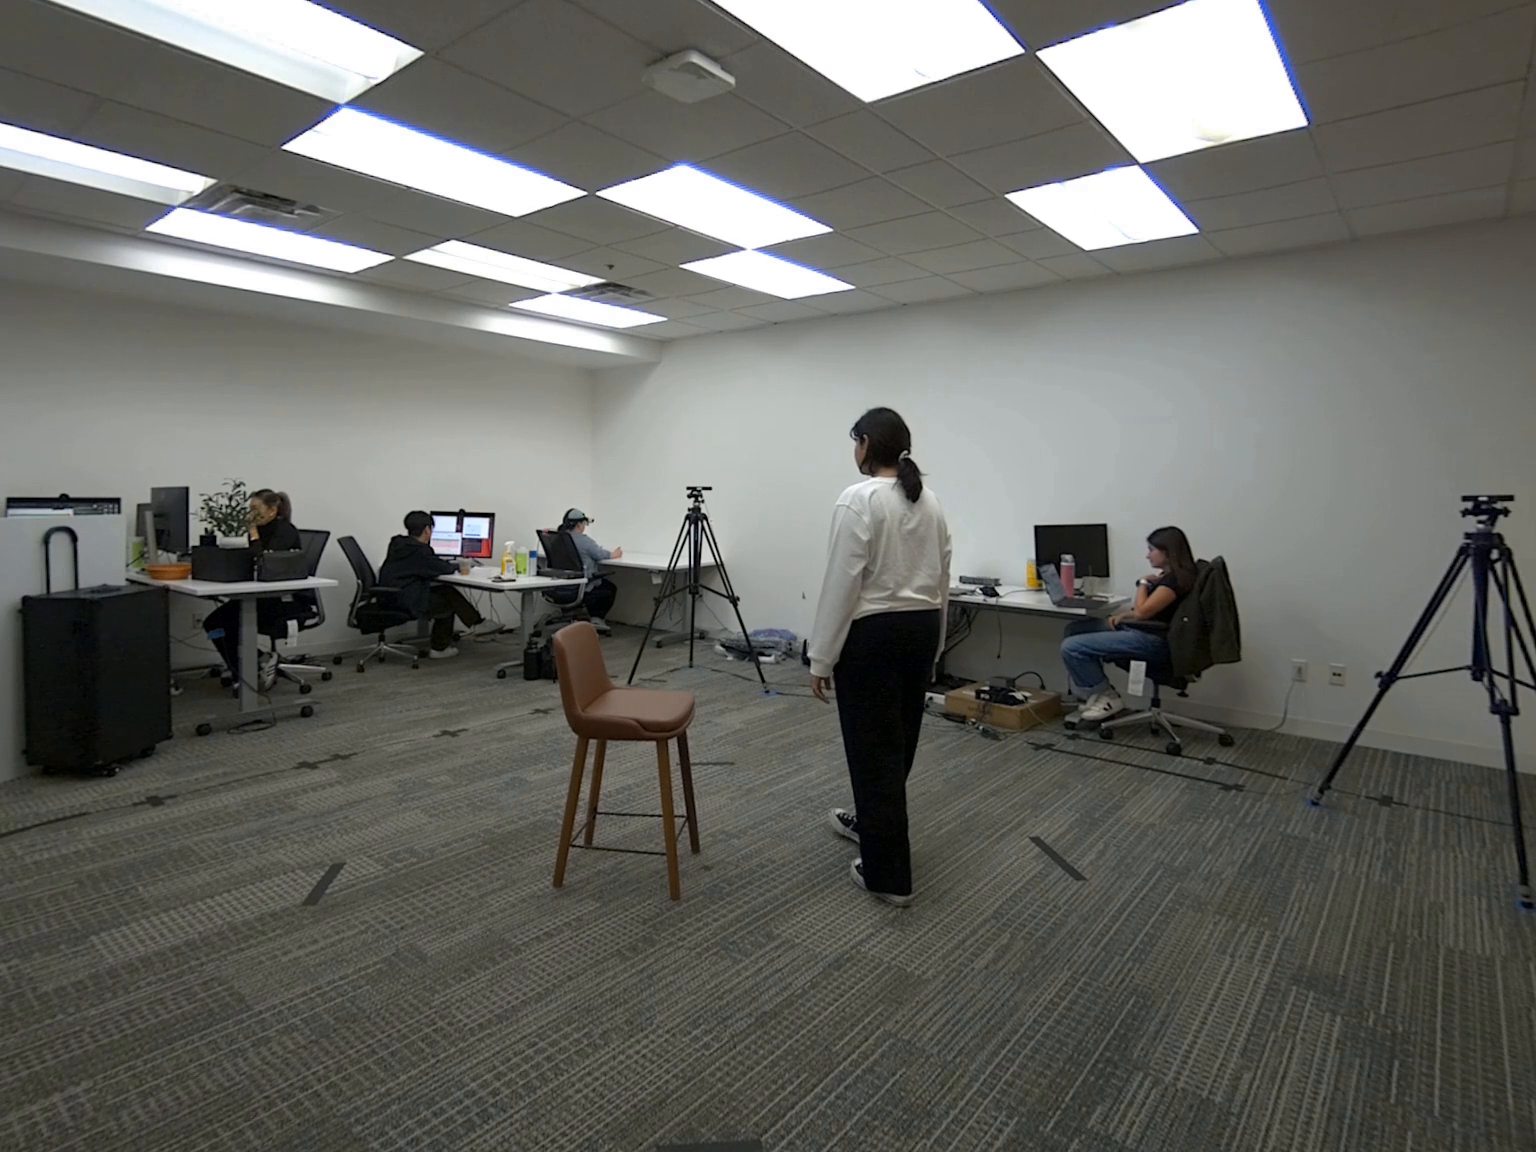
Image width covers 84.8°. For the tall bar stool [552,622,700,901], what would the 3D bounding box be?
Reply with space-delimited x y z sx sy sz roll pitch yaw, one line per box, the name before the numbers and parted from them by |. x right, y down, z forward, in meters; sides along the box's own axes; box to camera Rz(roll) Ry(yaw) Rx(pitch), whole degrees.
tall bar stool | -0.502 0.632 3.072 0.472 0.888 0.453 0 3 8
